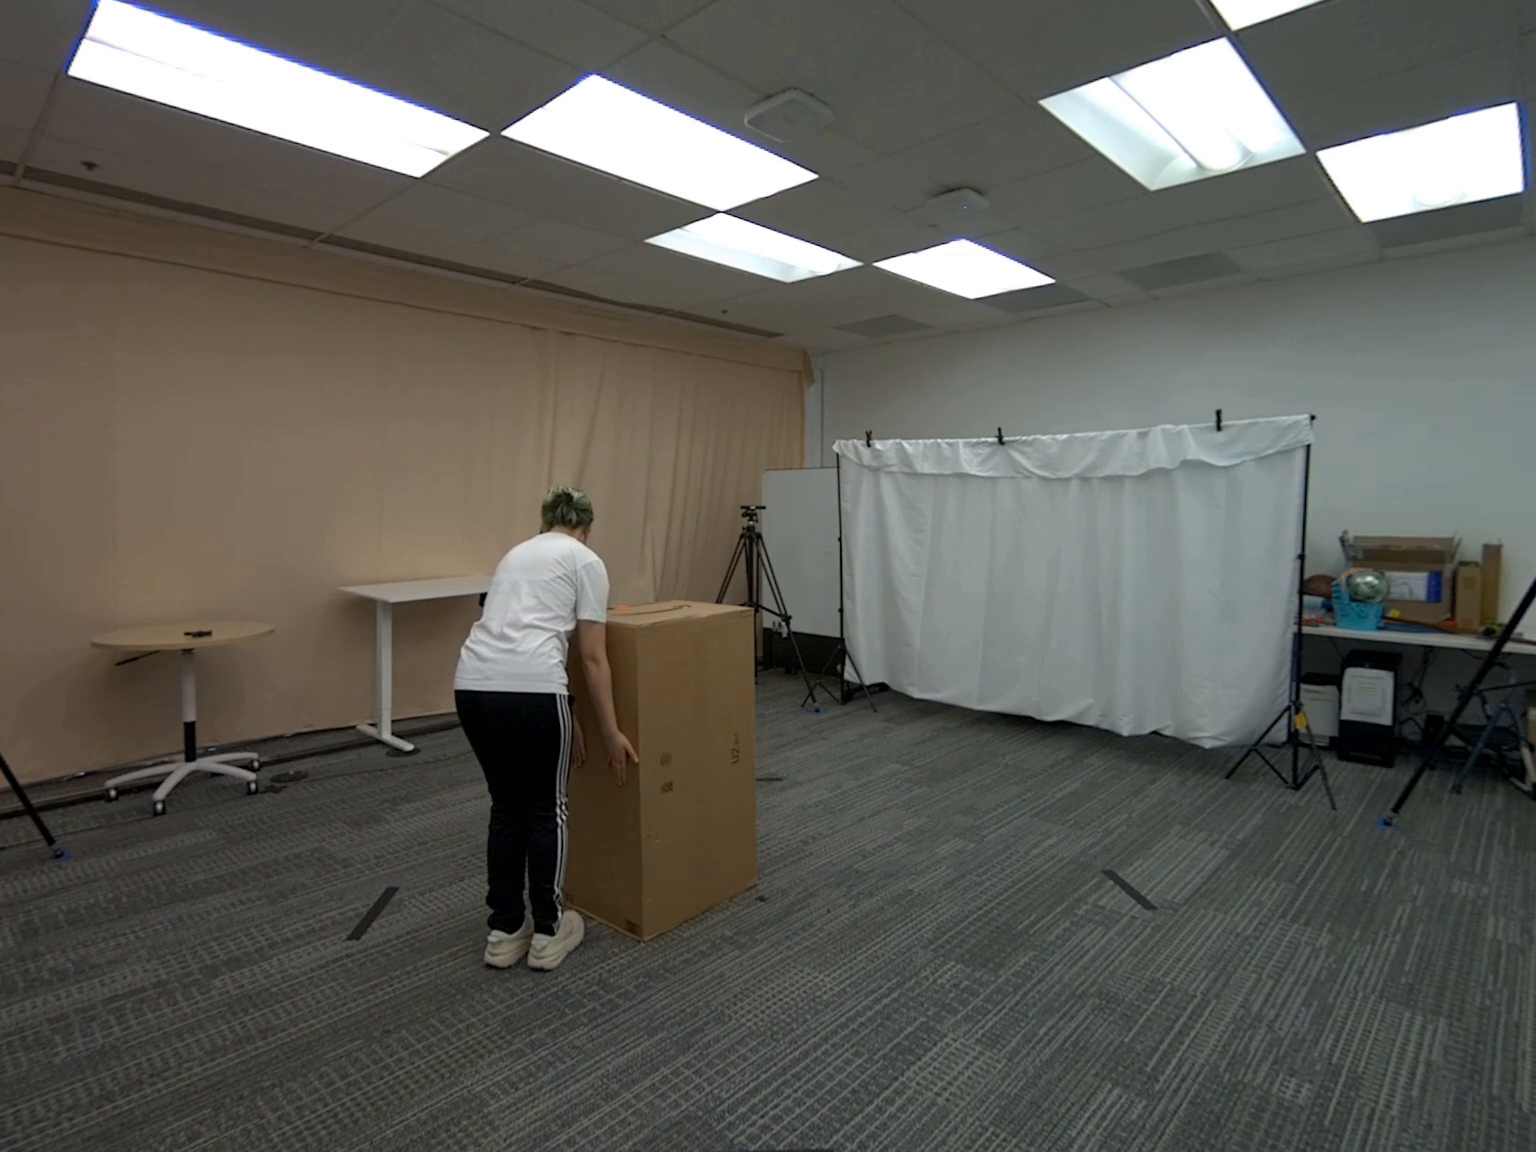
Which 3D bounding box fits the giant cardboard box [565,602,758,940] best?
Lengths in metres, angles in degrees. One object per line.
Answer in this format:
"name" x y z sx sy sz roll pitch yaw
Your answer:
"giant cardboard box" -0.386 0.637 3.008 0.461 1.024 0.566 3 5 40
